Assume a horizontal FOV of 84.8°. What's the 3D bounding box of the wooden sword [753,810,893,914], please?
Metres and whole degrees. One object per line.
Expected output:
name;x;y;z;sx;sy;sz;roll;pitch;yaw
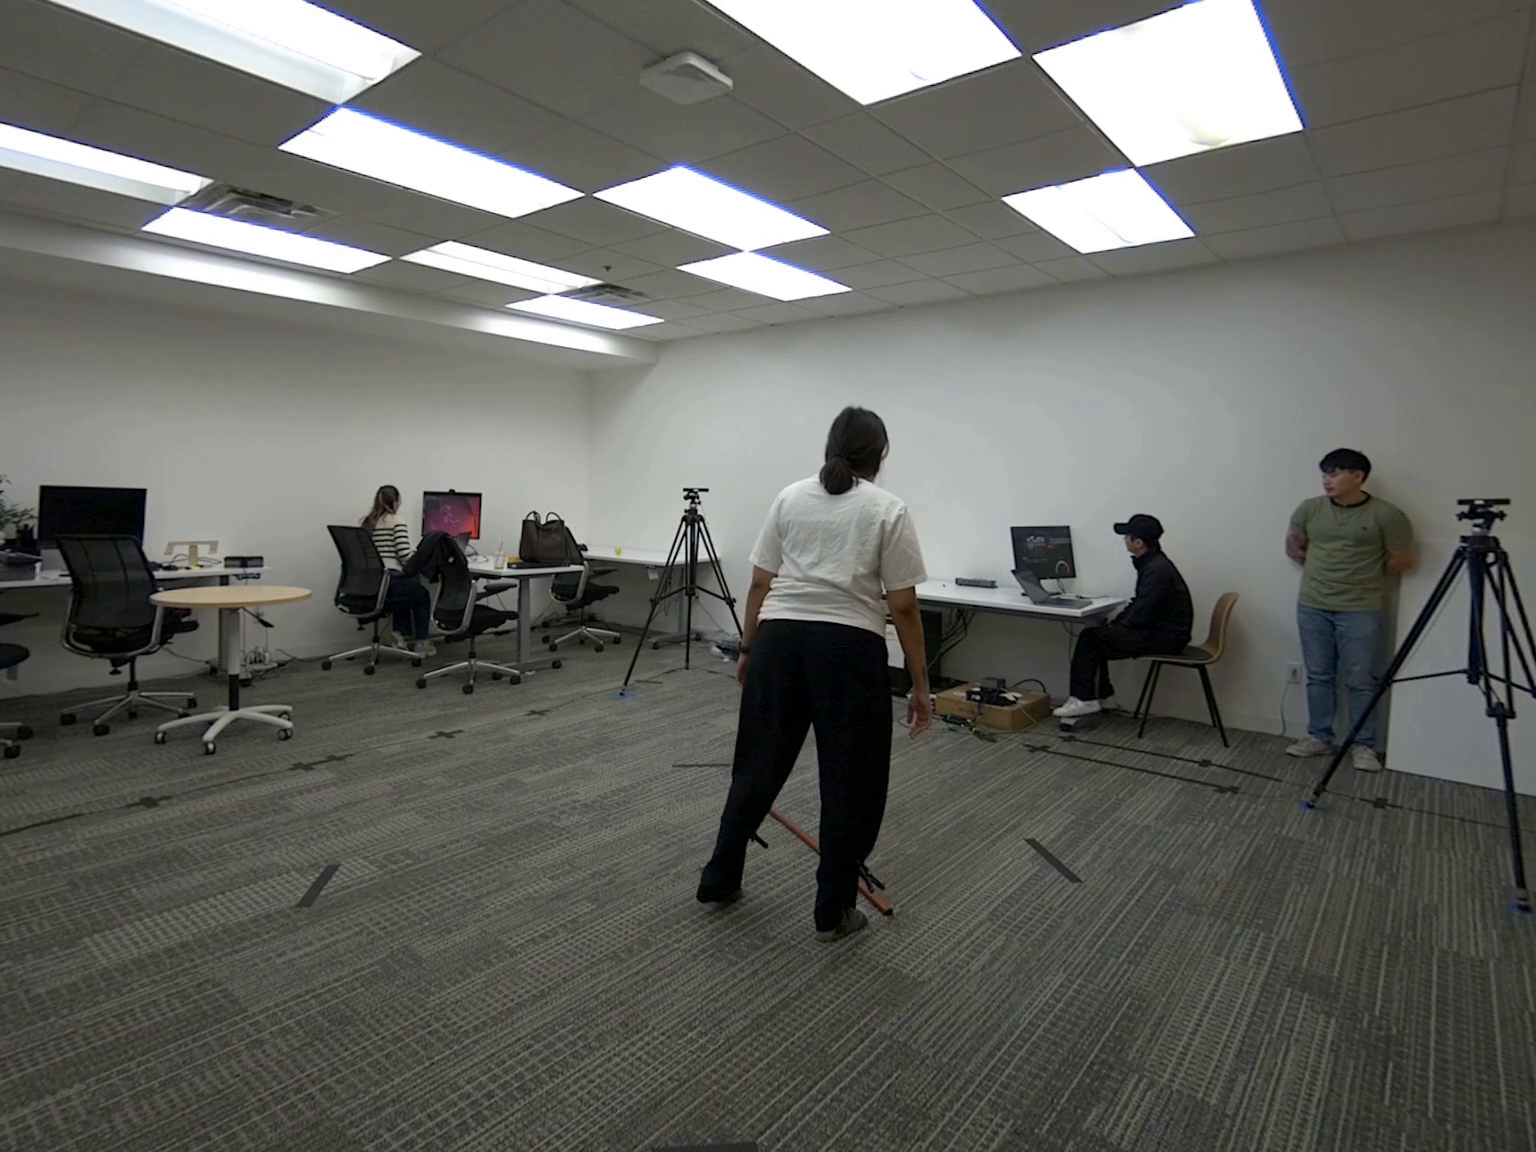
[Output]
wooden sword;0.178;1.035;3.267;0.050;0.024;1.050;9;1;-24
